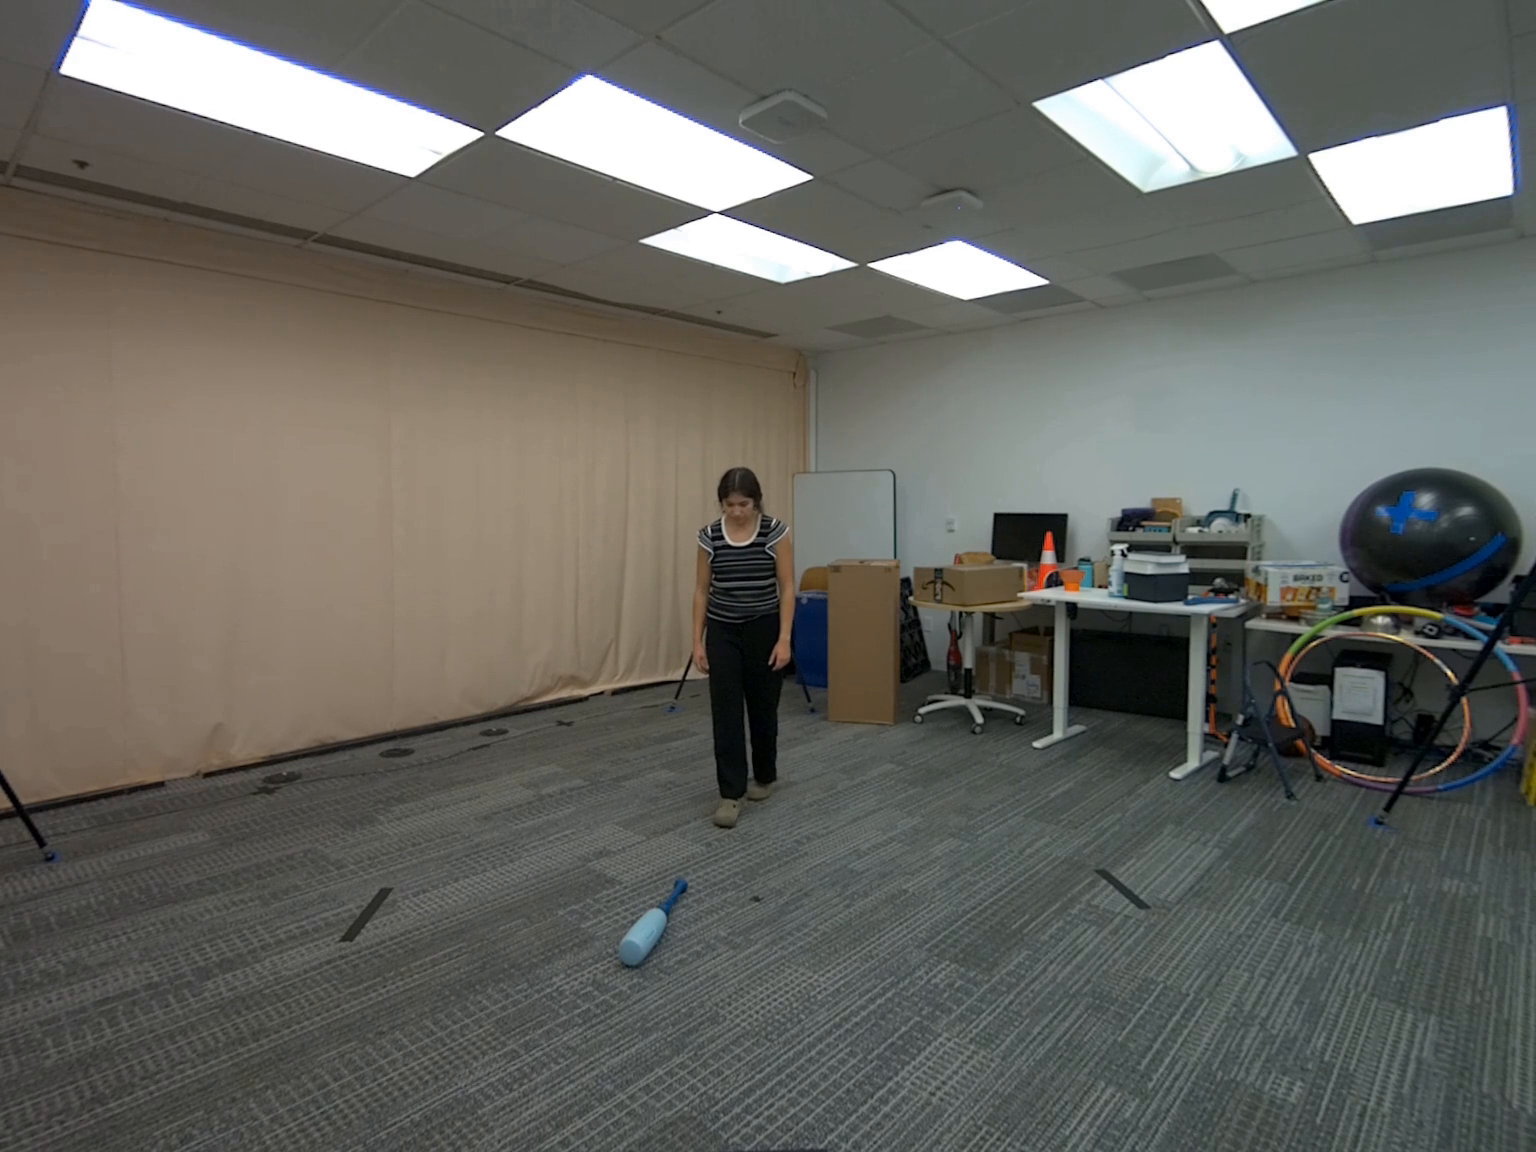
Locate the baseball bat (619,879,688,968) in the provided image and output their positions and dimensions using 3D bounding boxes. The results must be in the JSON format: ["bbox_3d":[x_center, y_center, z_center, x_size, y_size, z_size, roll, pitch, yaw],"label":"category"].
[{"bbox_3d":[-0.361,1.130,2.782,0.090,0.089,0.536,1,1,11],"label":"baseball bat"}]
